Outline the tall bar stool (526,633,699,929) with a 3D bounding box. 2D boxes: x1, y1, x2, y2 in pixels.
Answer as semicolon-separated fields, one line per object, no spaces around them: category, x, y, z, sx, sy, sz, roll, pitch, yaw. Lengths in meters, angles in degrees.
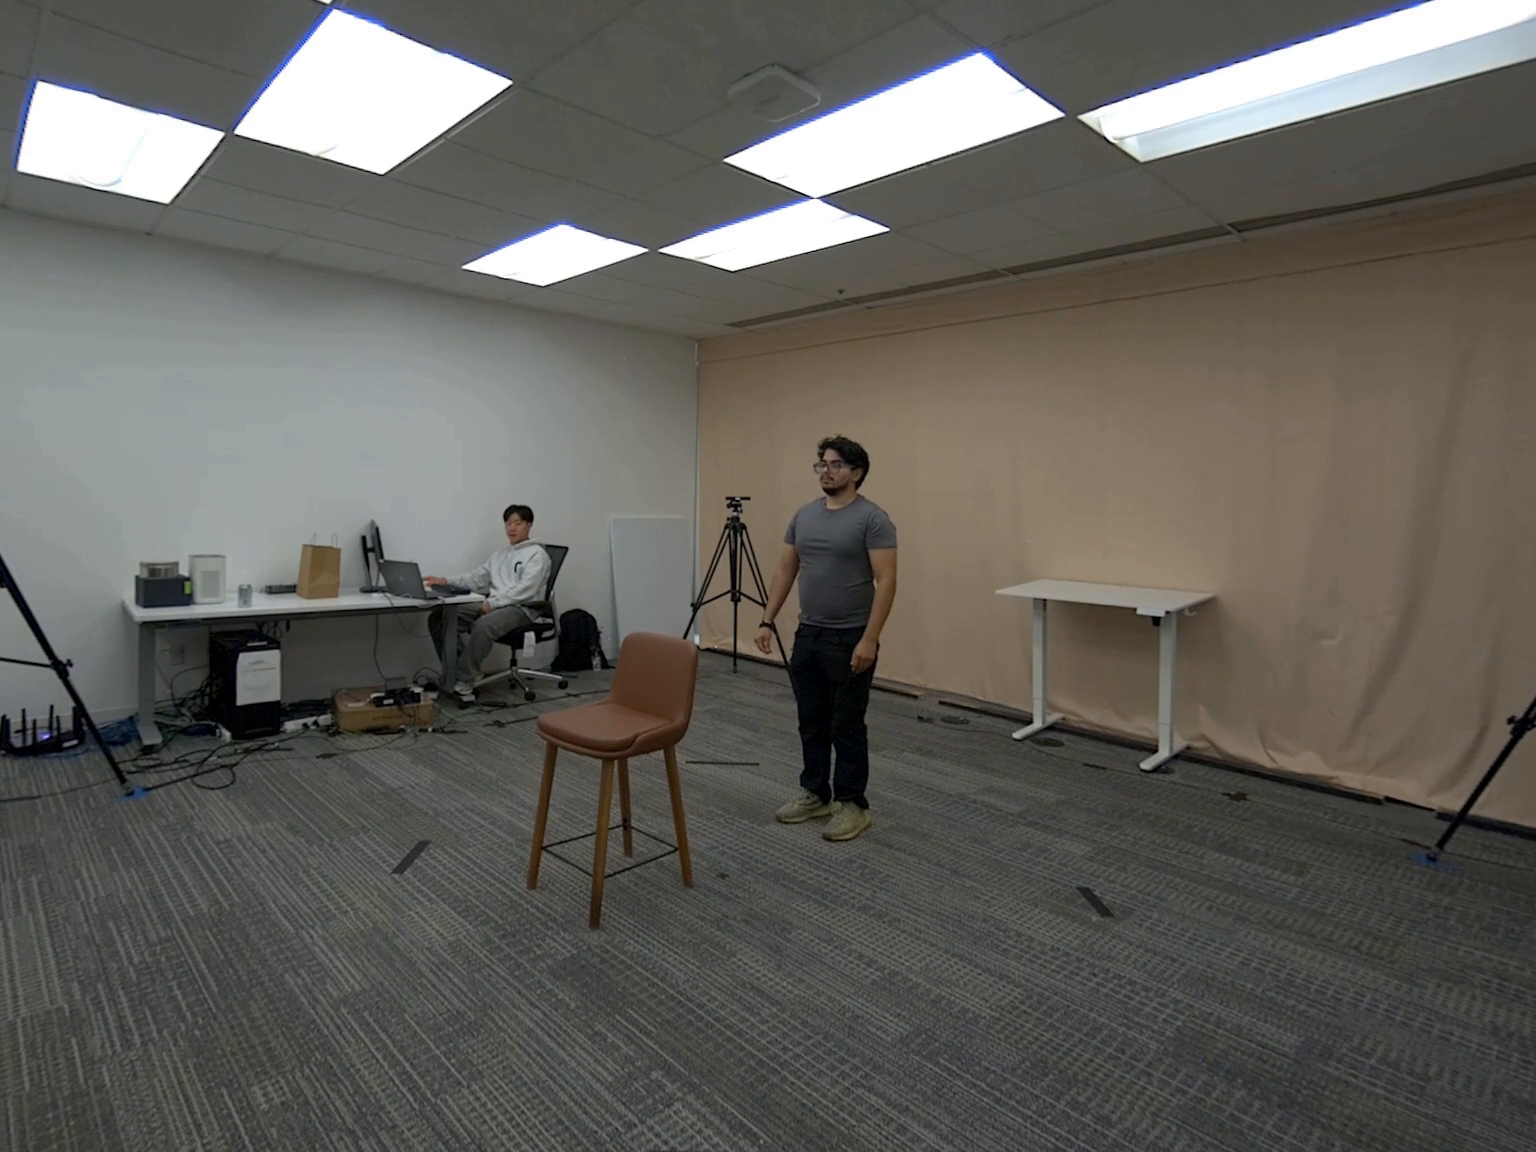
tall bar stool;-0.546;0.676;2.969;0.468;0.888;0.456;4;3;44
